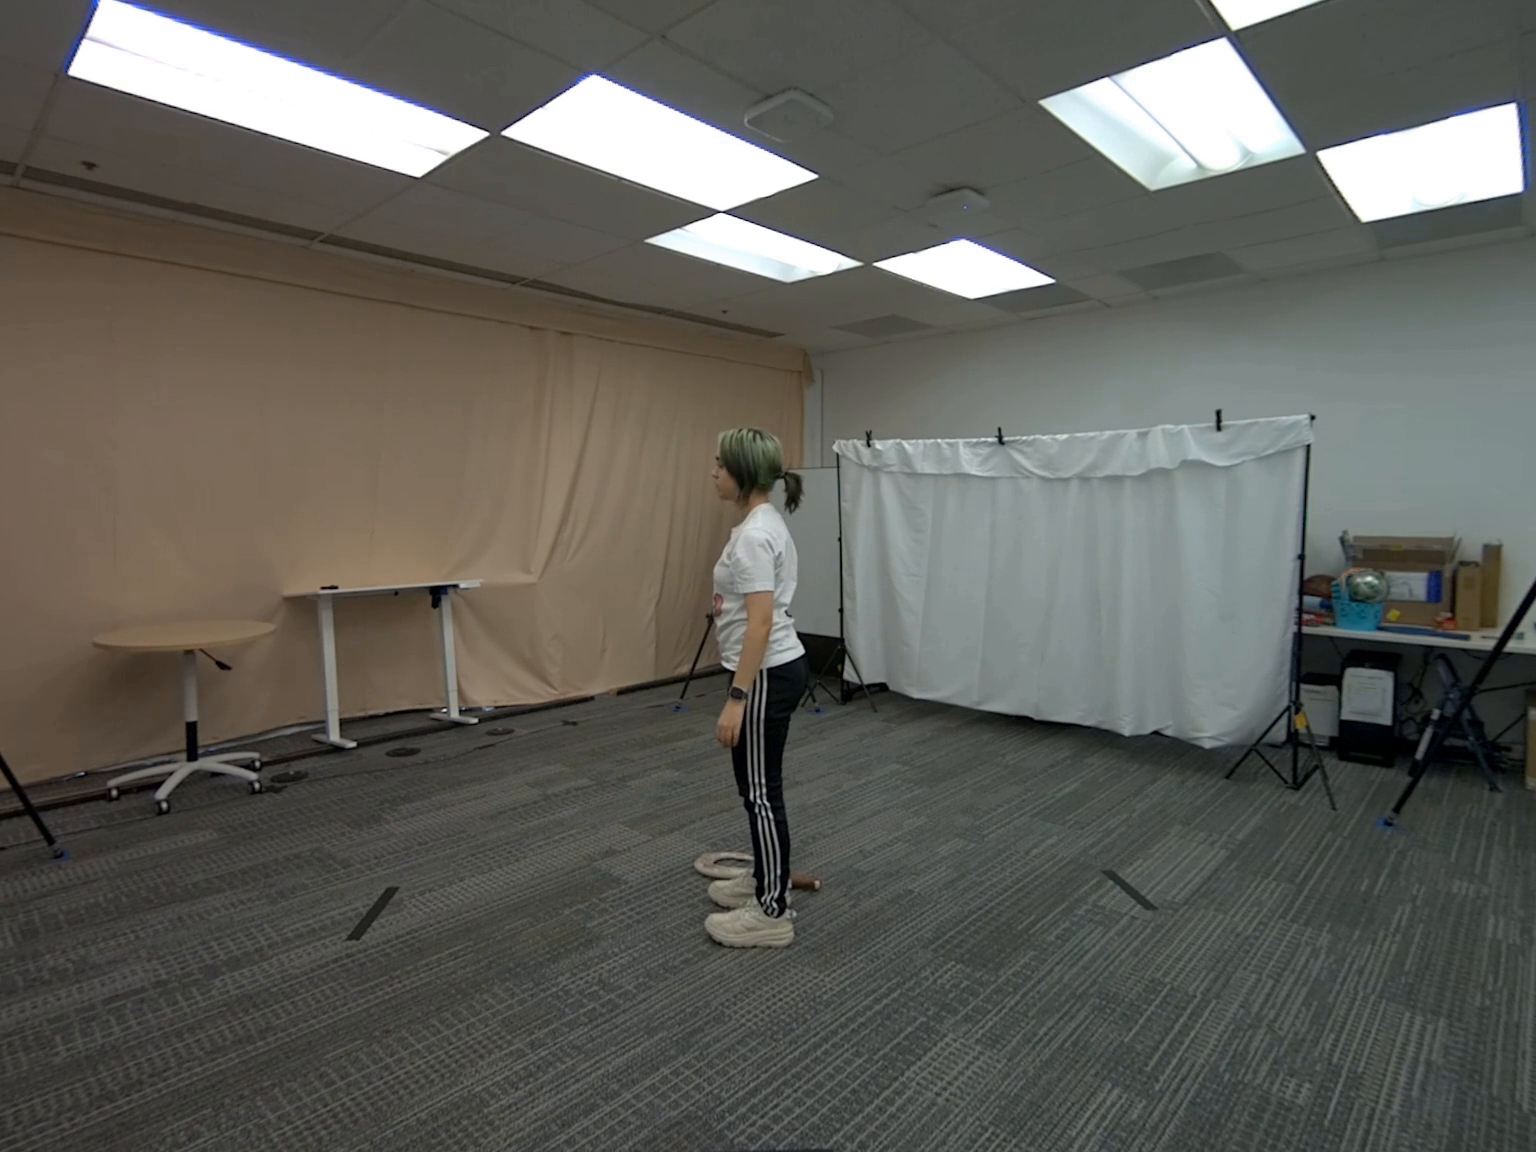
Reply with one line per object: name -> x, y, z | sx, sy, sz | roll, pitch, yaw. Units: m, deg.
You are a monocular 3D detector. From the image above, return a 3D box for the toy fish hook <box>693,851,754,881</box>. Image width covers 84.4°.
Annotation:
toy fish hook -> -0.027, 1.102, 3.178 | 0.518, 0.048, 0.220 | 2, 7, 22
